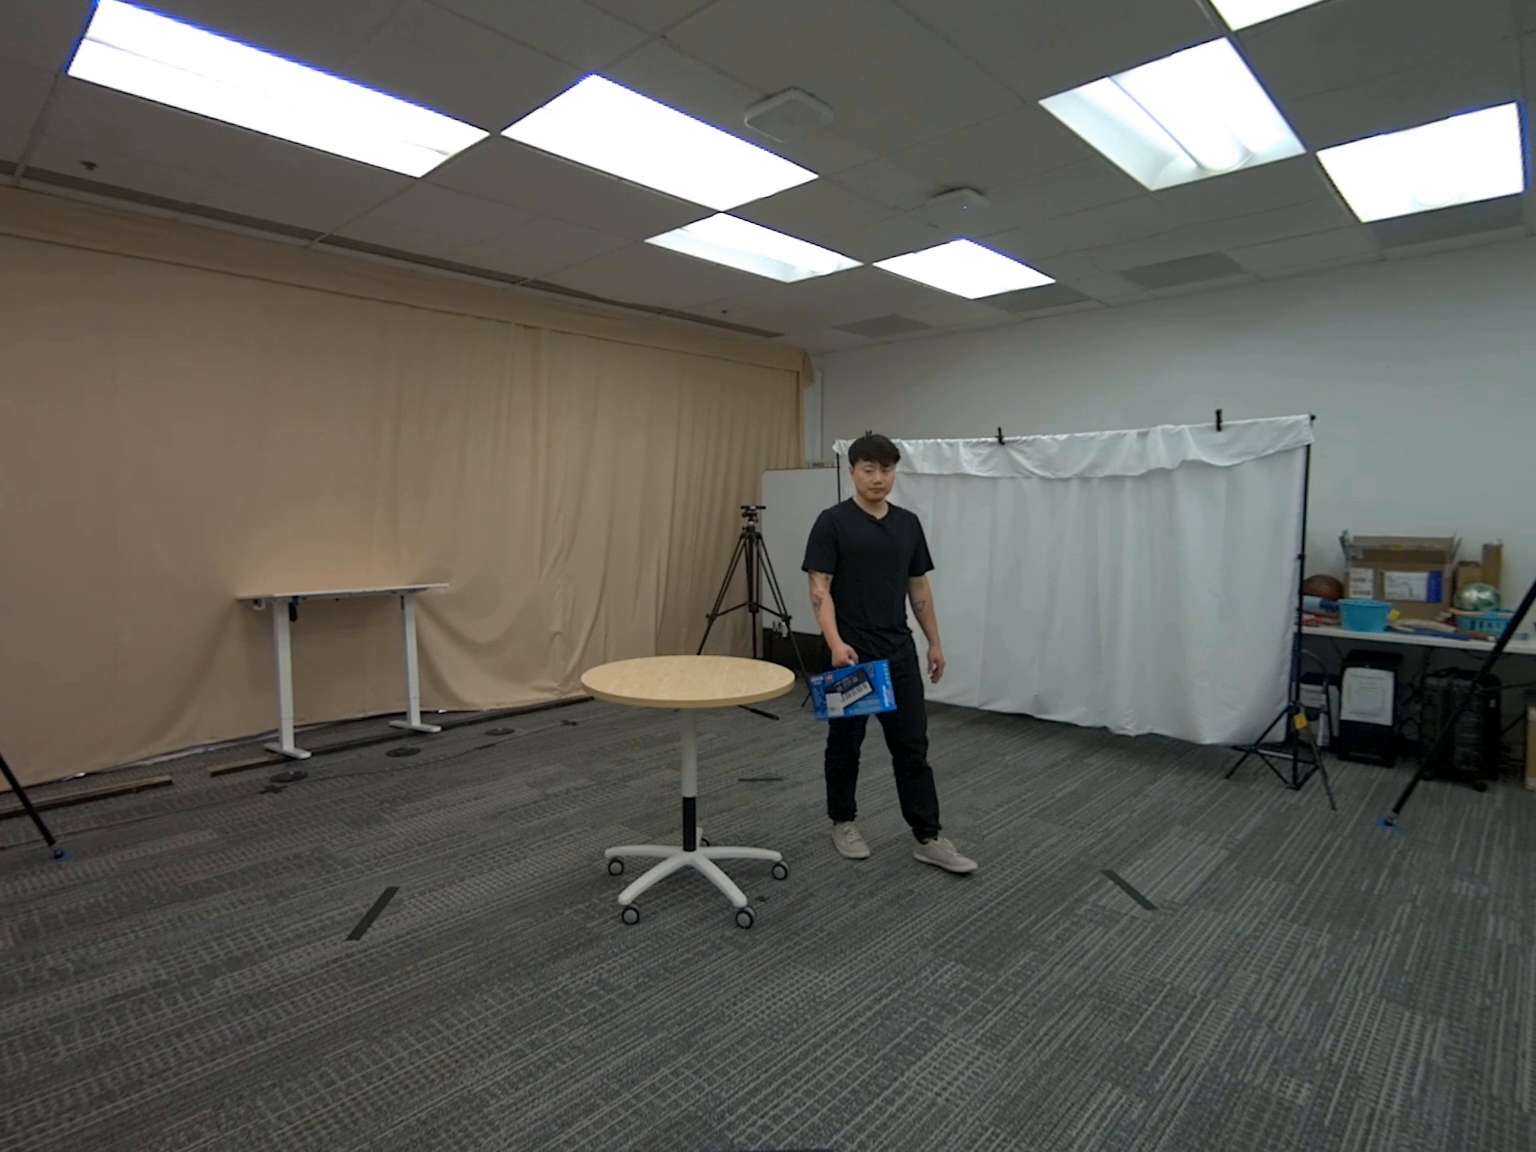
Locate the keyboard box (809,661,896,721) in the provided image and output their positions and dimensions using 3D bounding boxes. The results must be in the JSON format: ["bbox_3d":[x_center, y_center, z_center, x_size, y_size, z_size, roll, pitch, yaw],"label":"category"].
[{"bbox_3d":[0.297,0.426,3.070,0.057,0.177,0.444,-1,-13,-29],"label":"keyboard box"}]
